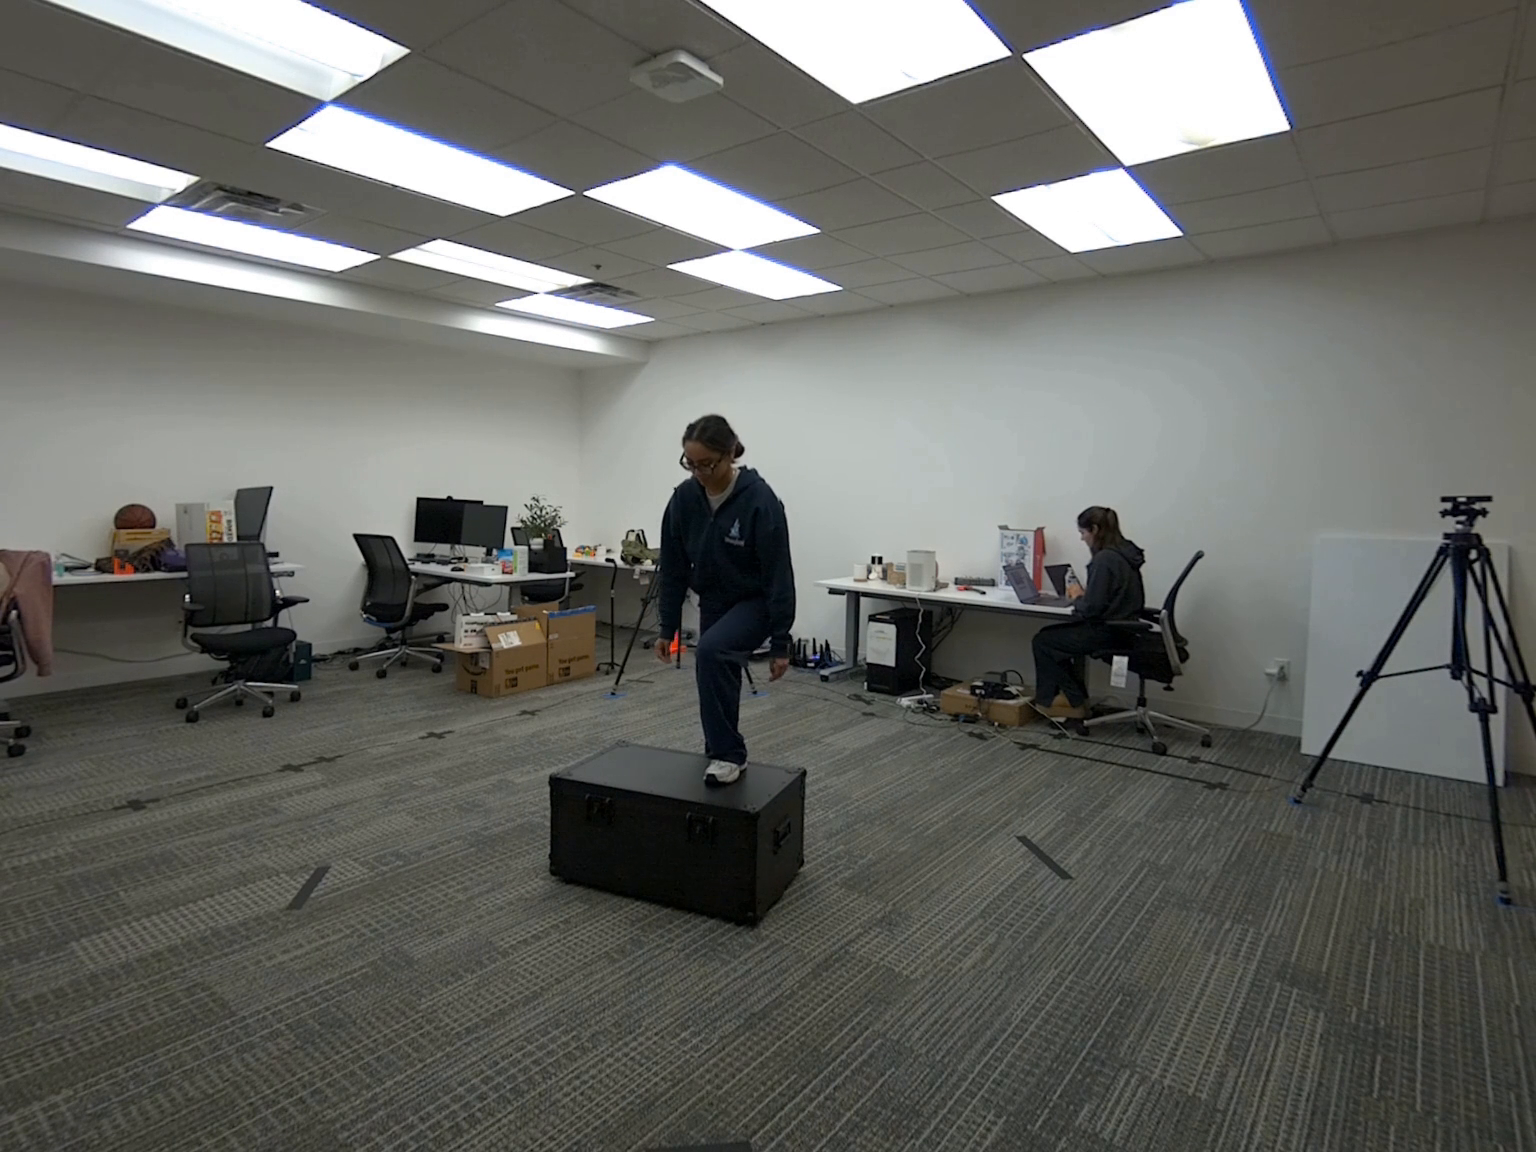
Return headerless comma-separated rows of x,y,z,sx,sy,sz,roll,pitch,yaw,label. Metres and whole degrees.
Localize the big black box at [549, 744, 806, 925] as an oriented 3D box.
-0.356,0.881,3.053,0.882,0.395,0.511,3,5,23,big black box
